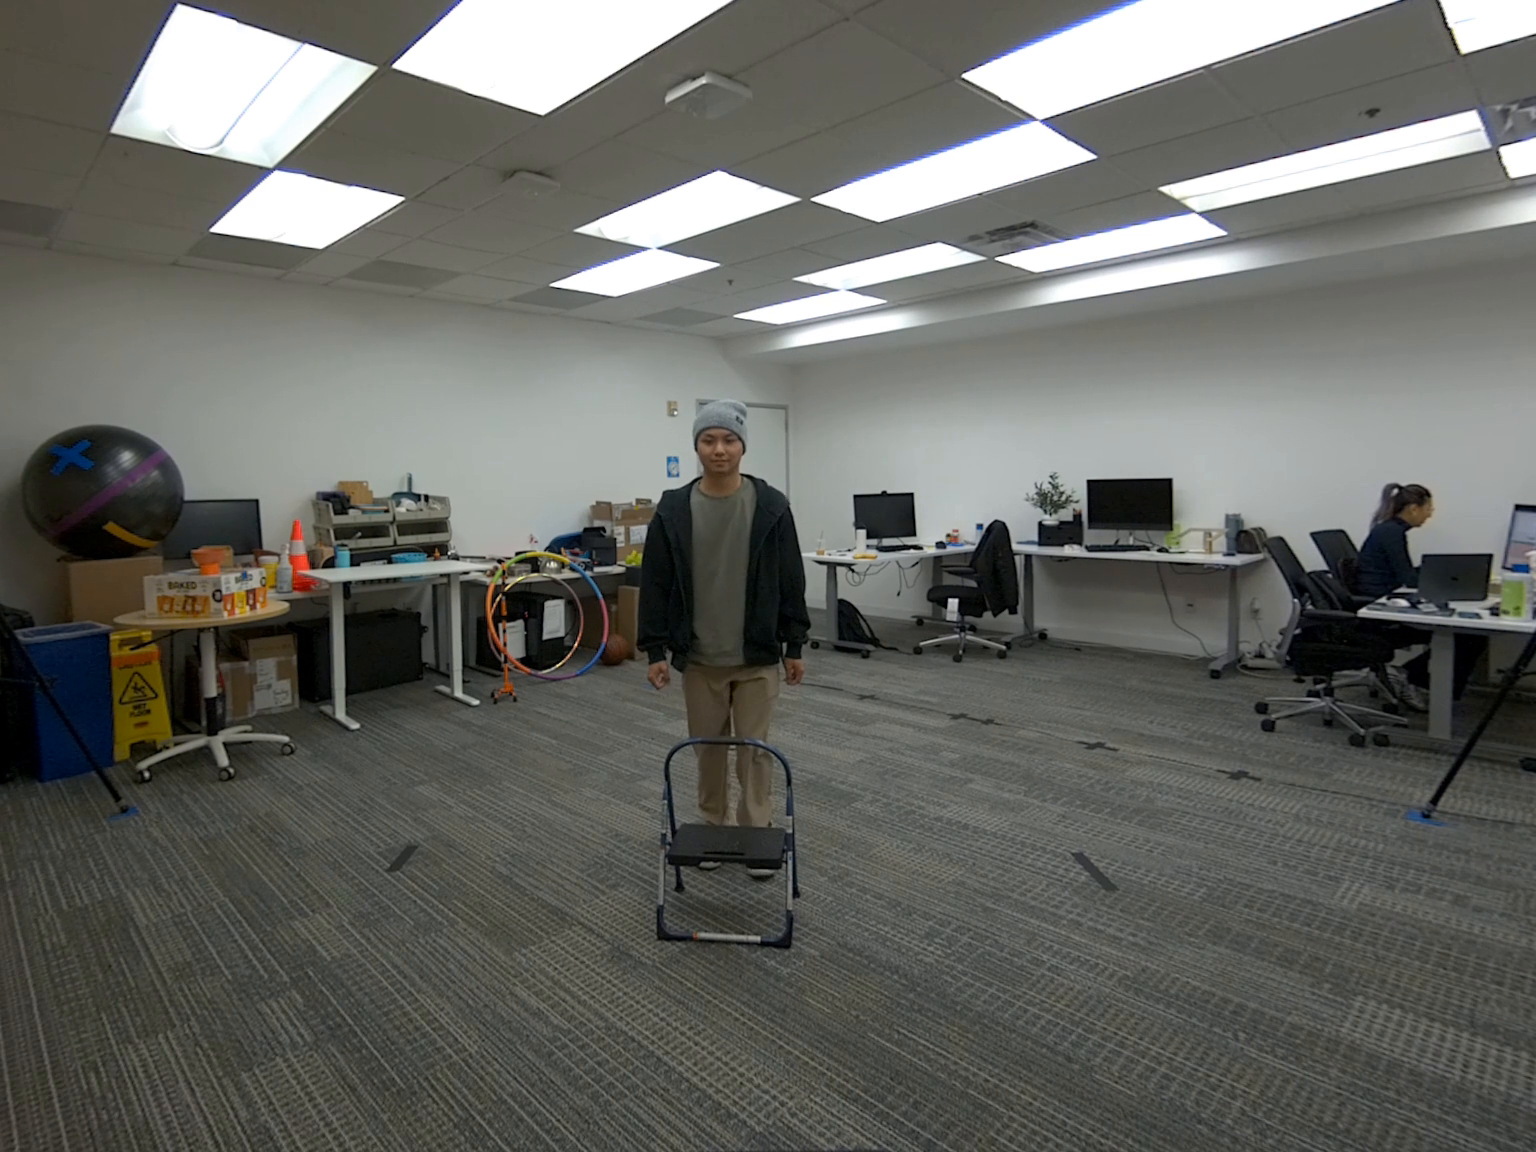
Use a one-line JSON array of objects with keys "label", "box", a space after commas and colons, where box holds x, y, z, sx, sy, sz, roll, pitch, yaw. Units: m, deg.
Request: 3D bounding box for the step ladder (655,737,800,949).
[{"label": "step ladder", "box": [-0.124, 0.793, 2.719, 0.434, 0.604, 0.348, 0, 5, 6]}]
